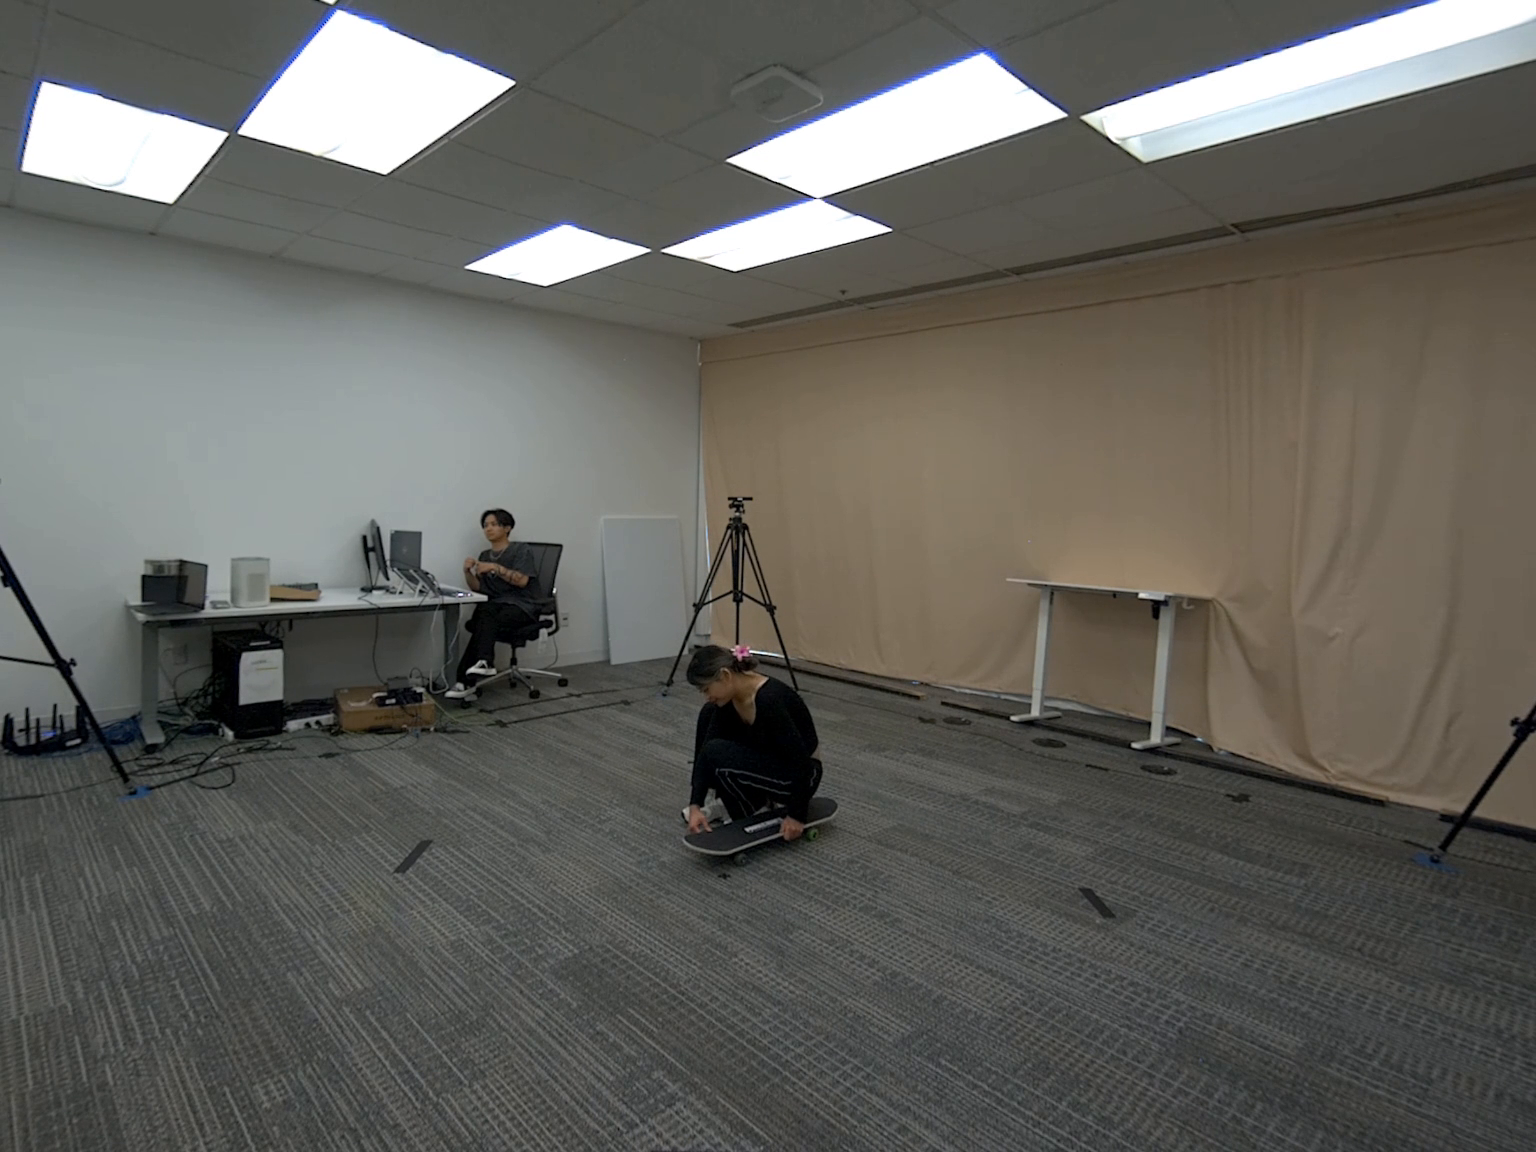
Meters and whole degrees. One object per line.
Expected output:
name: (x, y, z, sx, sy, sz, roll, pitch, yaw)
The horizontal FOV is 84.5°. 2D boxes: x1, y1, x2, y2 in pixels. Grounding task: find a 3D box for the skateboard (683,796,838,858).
skateboard: (-0.021, 1.027, 3.378, 0.767, 0.110, 0.199, -3, 10, -42)
